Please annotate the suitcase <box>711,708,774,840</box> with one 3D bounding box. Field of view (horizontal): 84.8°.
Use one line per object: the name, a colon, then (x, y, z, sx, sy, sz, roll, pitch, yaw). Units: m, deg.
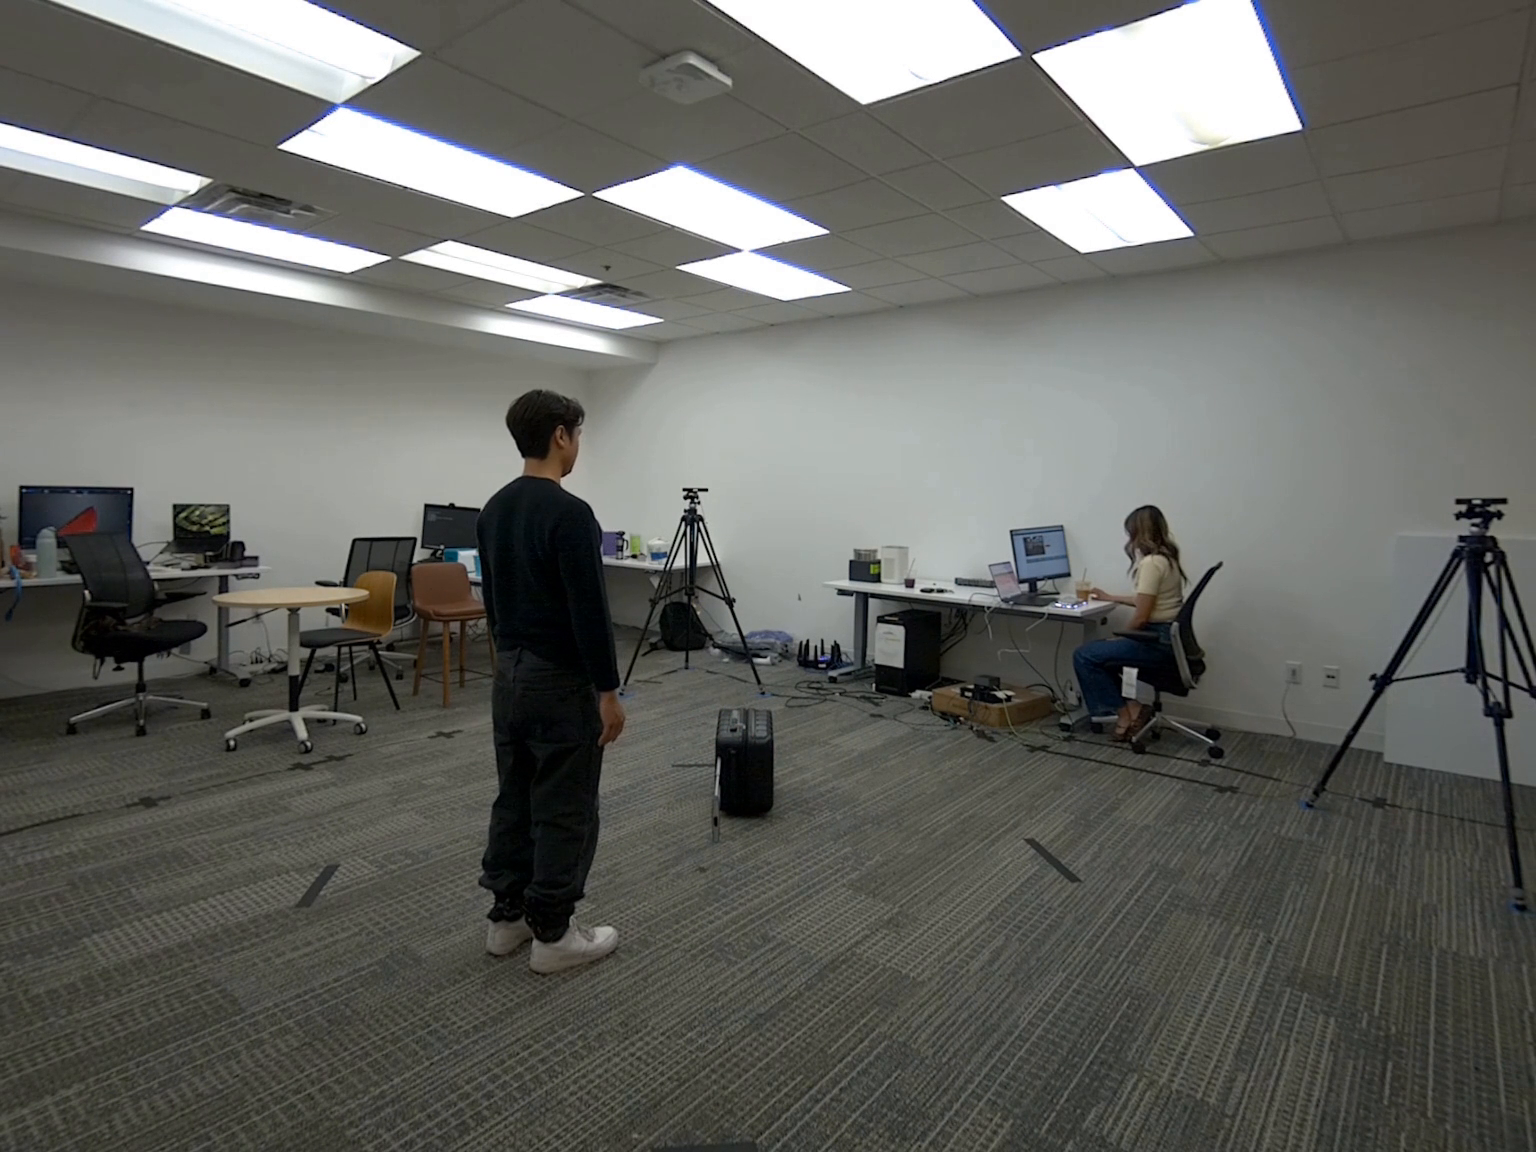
suitcase: (-0.105, 0.833, 3.618, 0.257, 0.382, 0.983, 1, 6, -2)
